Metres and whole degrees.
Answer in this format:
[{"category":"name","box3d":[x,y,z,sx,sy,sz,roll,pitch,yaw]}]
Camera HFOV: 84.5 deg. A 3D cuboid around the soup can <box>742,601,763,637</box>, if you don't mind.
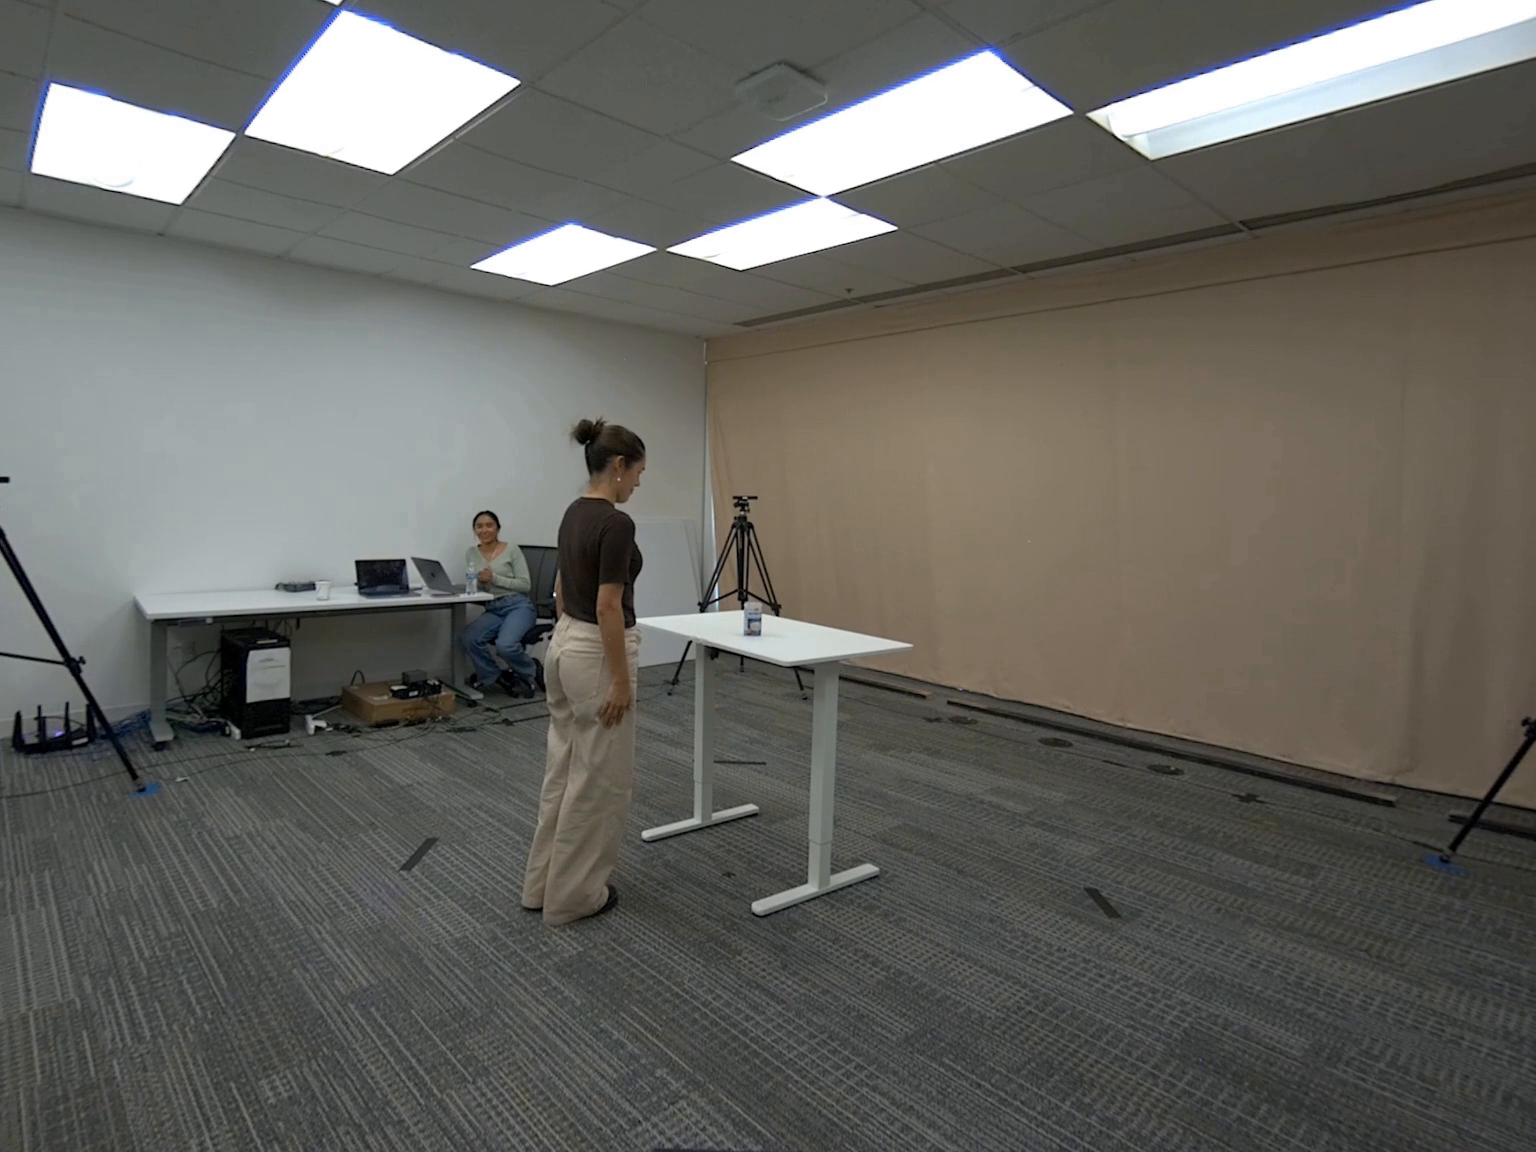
[{"category":"soup can","box3d":[-0.067,0.161,3.119,0.067,0.121,0.067,2,3,-1]}]
